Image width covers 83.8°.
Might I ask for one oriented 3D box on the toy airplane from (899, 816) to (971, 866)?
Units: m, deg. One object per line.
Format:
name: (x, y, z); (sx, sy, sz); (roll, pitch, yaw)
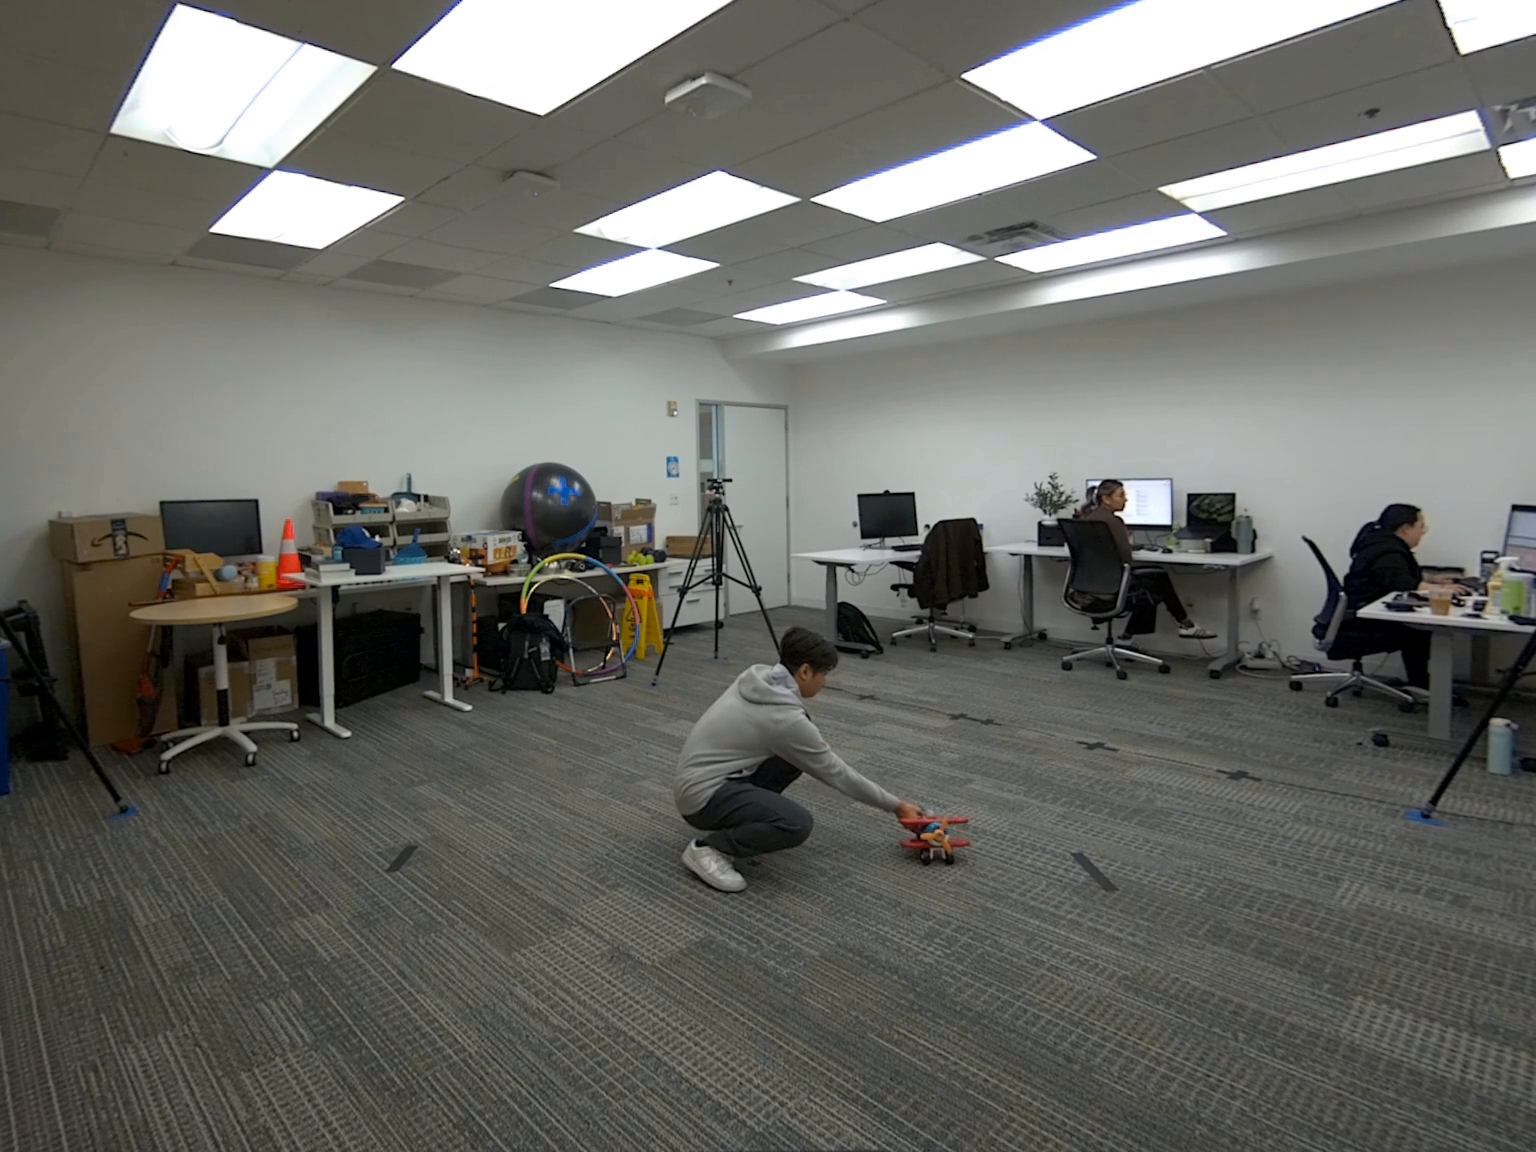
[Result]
toy airplane: (0.585, 0.952, 3.155); (0.246, 0.156, 0.265); (-4, 5, -26)
